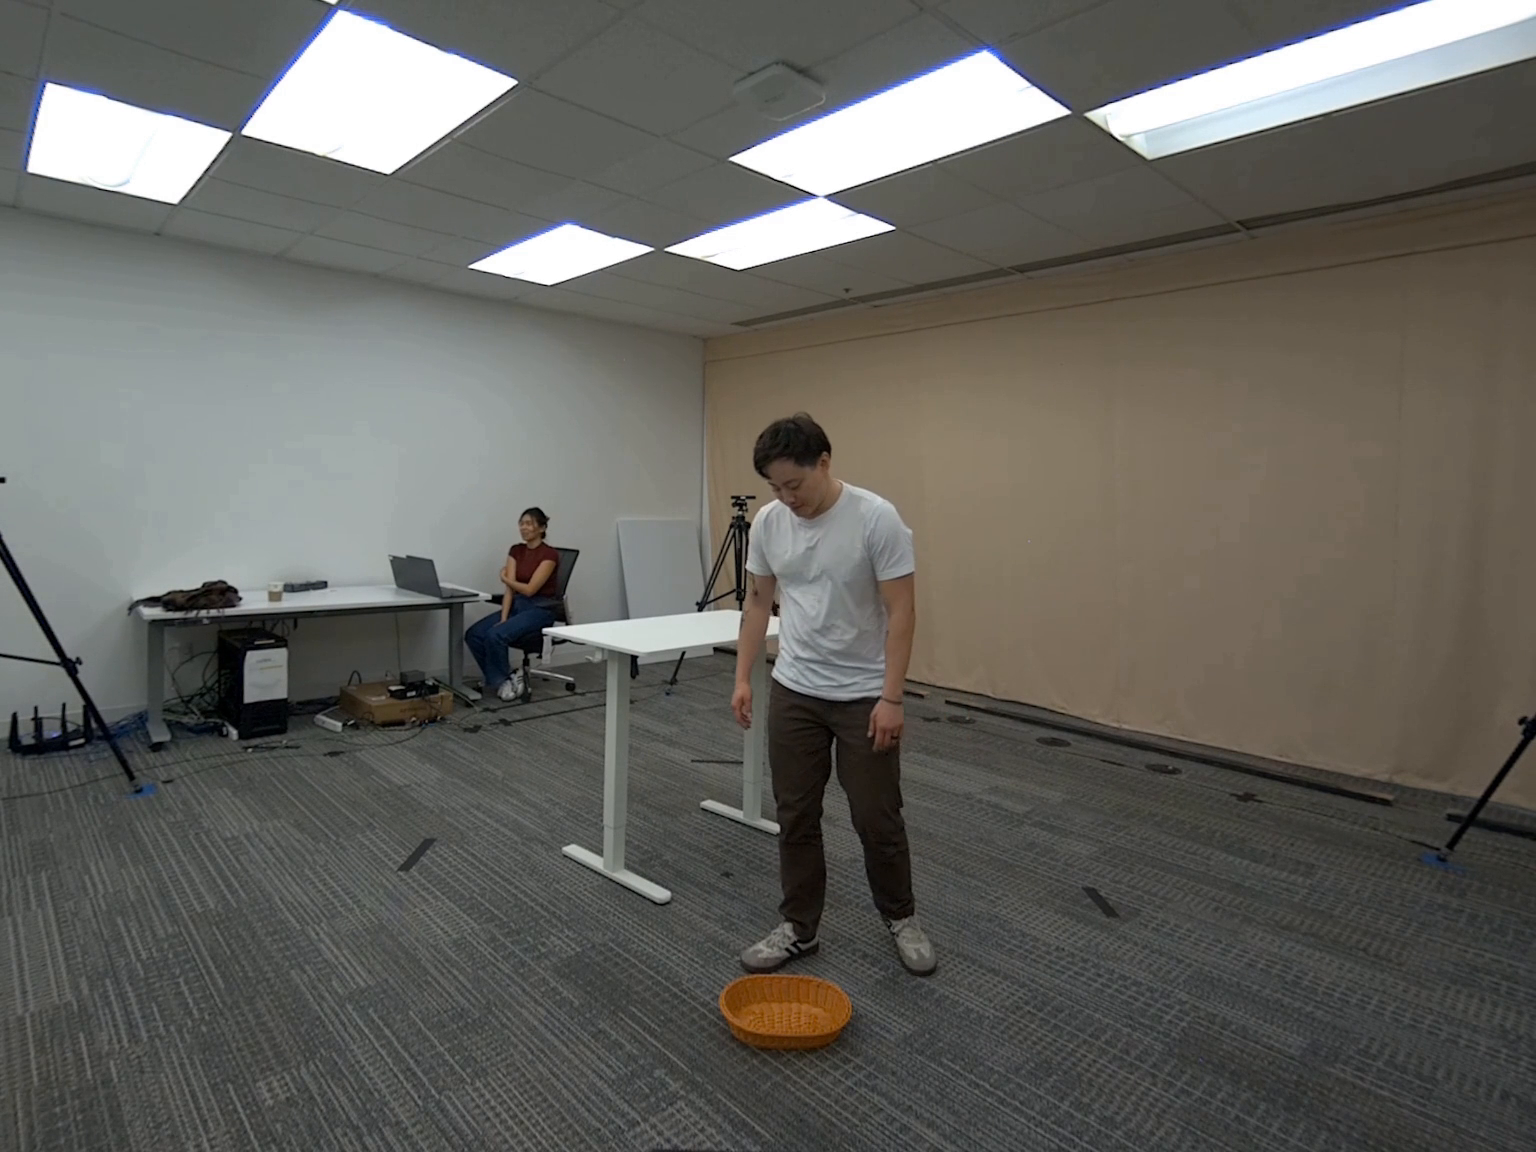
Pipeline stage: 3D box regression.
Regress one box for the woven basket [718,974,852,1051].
[{"bbox_3d":[0.036,1.157,2.205,0.351,0.073,0.253,2,6,1],"label":"woven basket"}]
